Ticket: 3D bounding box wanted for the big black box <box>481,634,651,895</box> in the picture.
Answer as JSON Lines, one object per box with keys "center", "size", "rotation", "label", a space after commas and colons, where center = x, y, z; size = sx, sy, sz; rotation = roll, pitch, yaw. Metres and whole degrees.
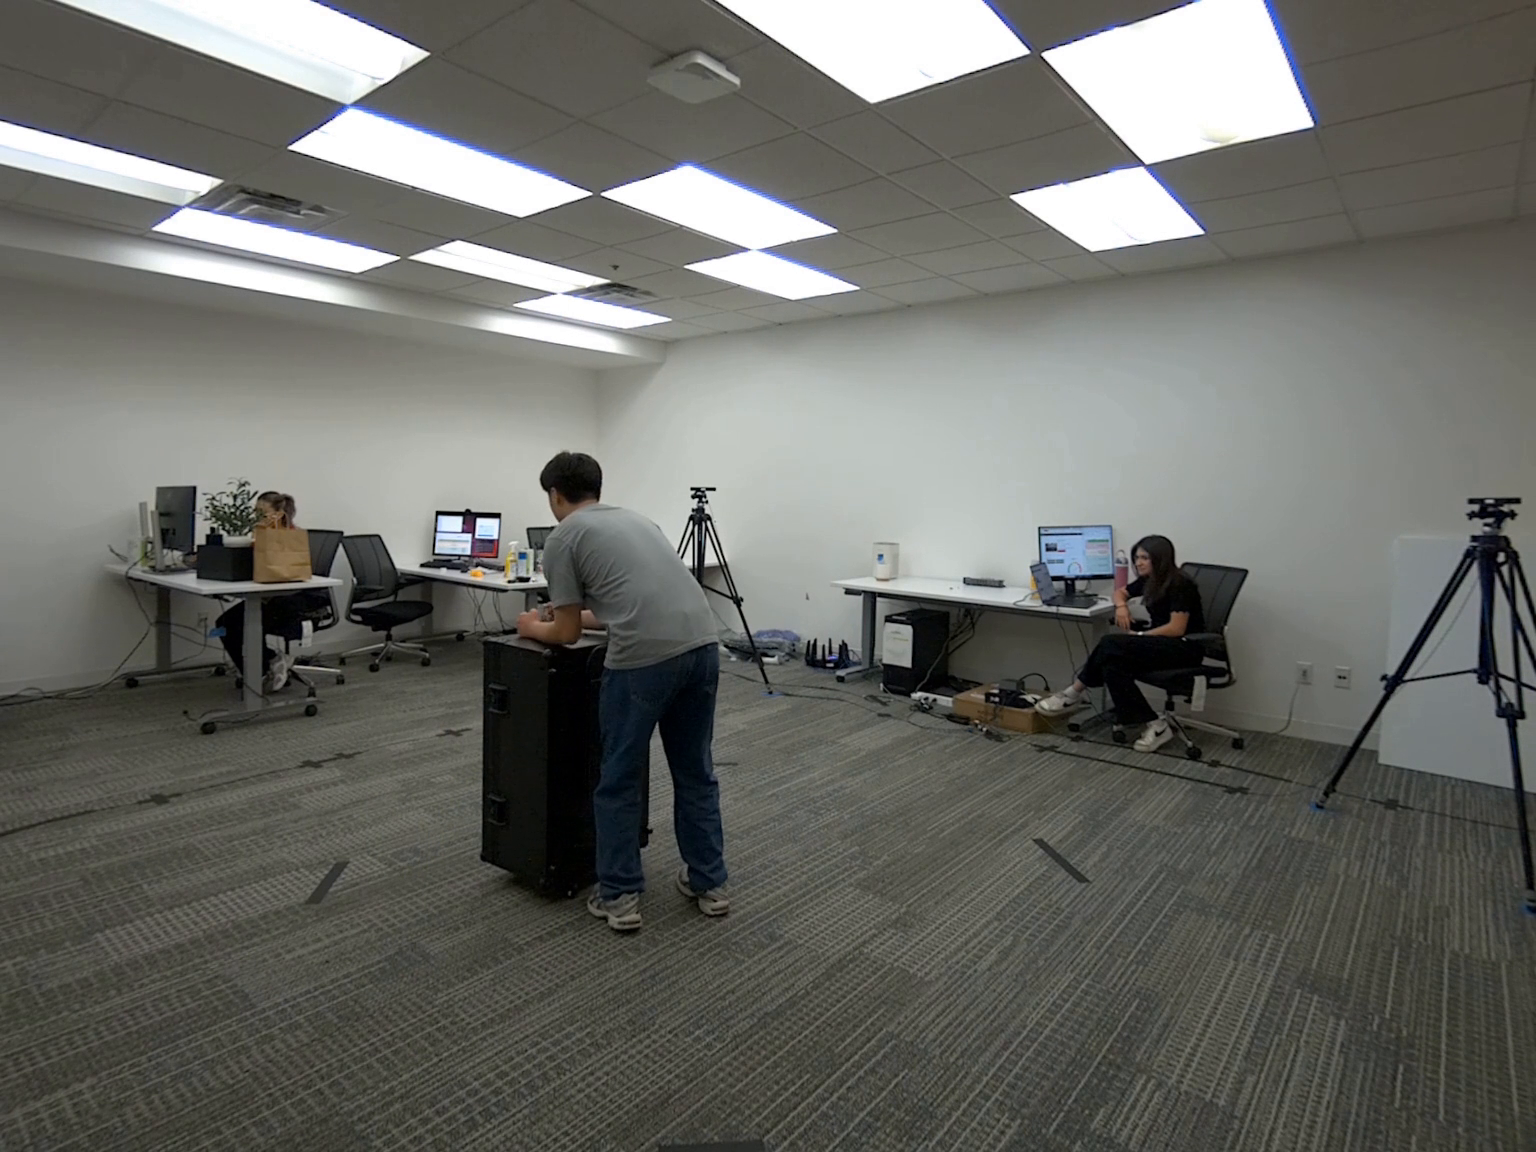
{"center": [-0.718, 0.639, 3.035], "size": [0.409, 0.859, 0.506], "rotation": [5, 4, 37], "label": "big black box"}
